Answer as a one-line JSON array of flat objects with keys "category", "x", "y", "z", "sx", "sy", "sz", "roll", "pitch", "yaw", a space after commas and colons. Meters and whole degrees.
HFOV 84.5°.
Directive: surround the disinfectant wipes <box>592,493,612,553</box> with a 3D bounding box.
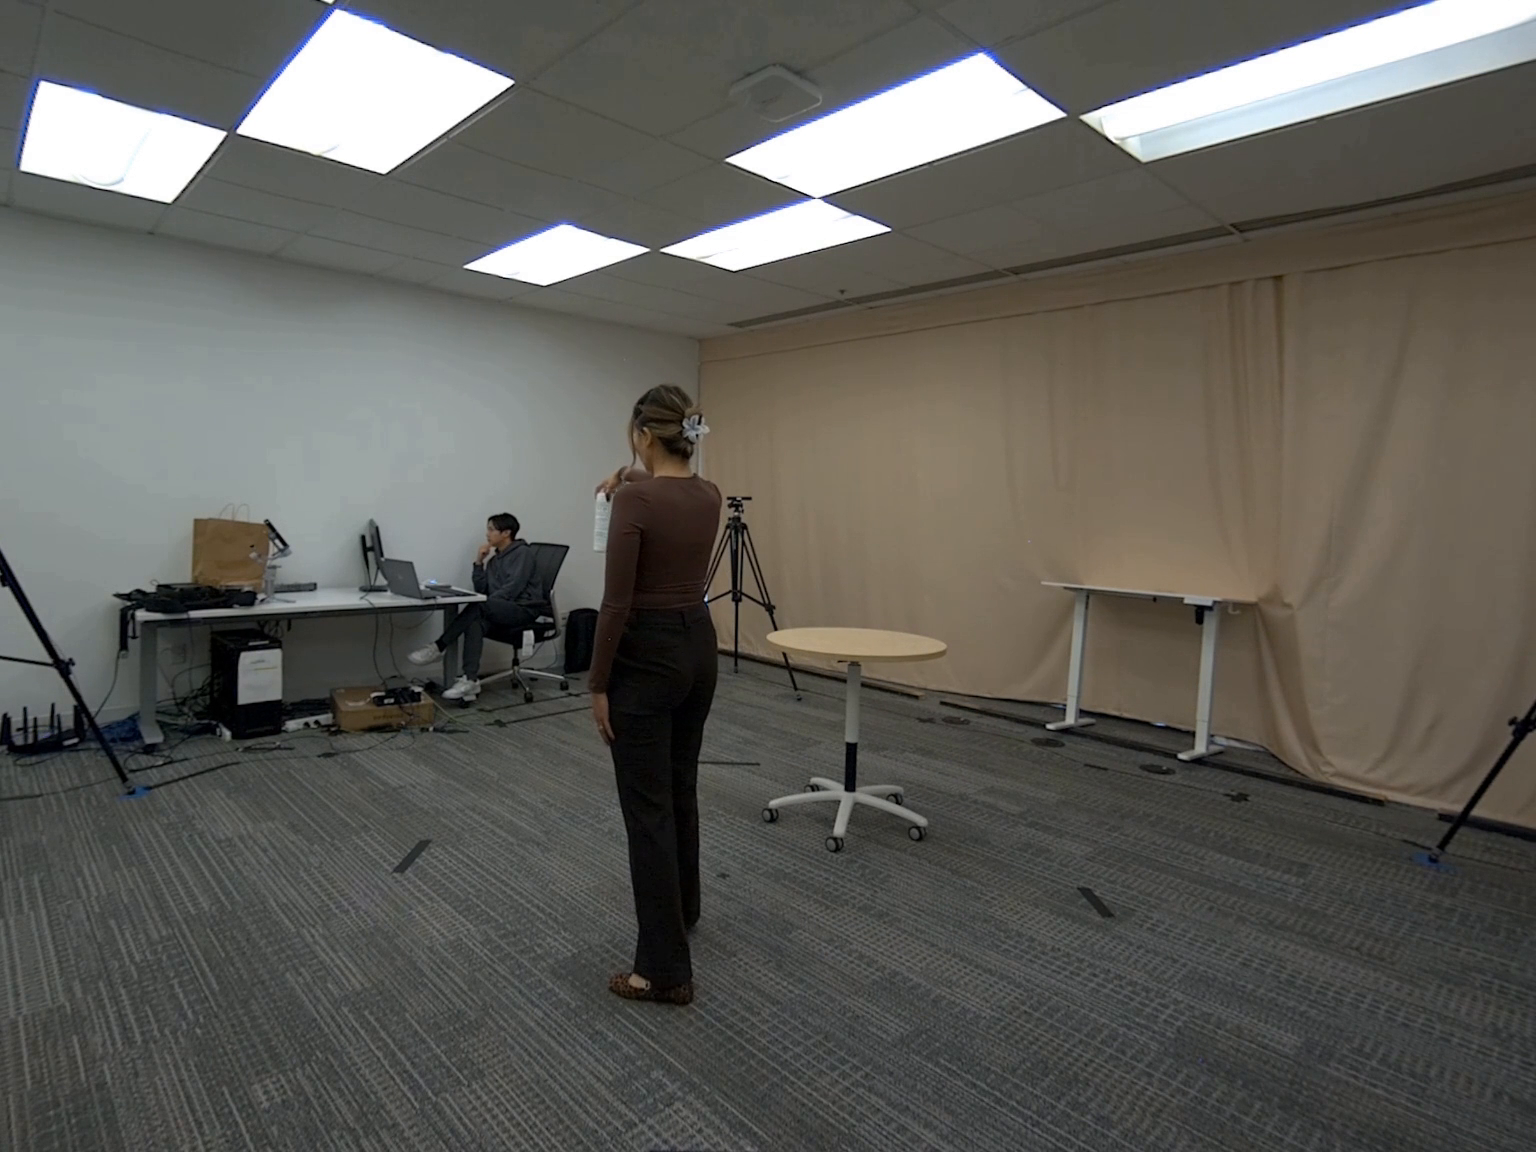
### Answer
[{"category": "disinfectant wipes", "x": -0.581, "y": -0.192, "z": 3.072, "sx": 0.118, "sy": 0.217, "sz": 0.118, "roll": 4, "pitch": 3, "yaw": -2}]
